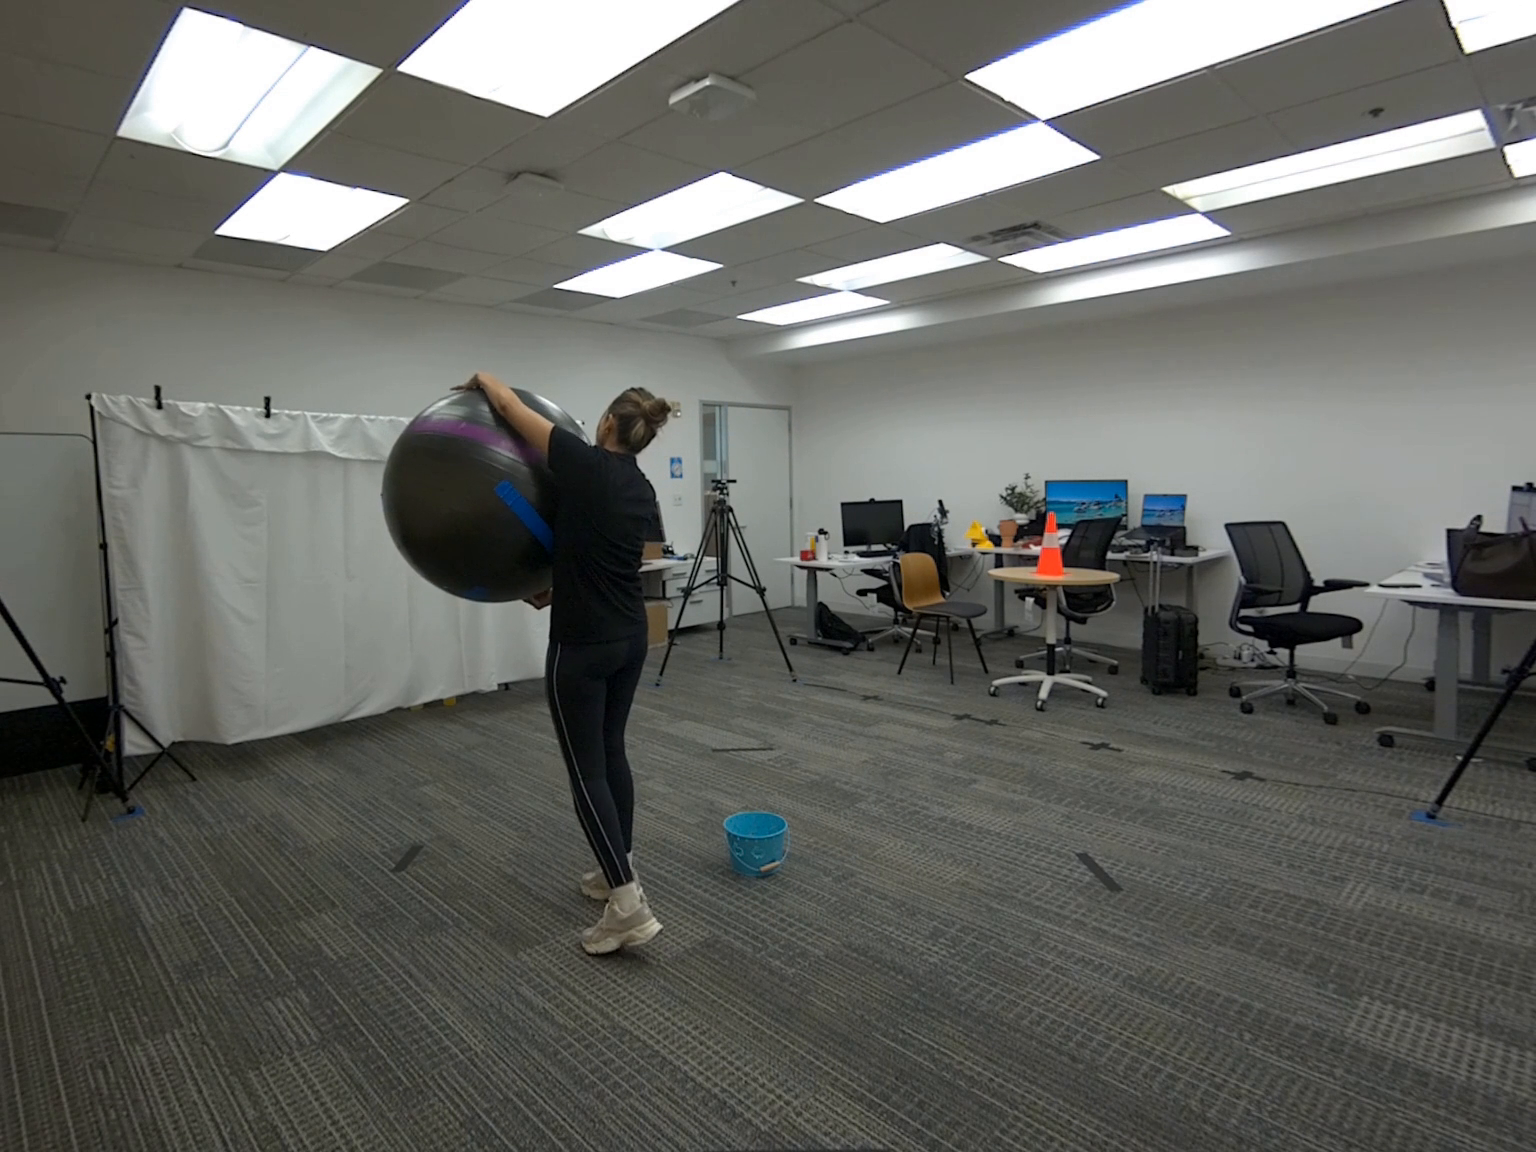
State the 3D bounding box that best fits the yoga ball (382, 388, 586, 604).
[{"bbox_3d":[-0.965,-0.280,3.018,0.757,0.755,0.762,-1,5,-2],"label":"yoga ball"}]
